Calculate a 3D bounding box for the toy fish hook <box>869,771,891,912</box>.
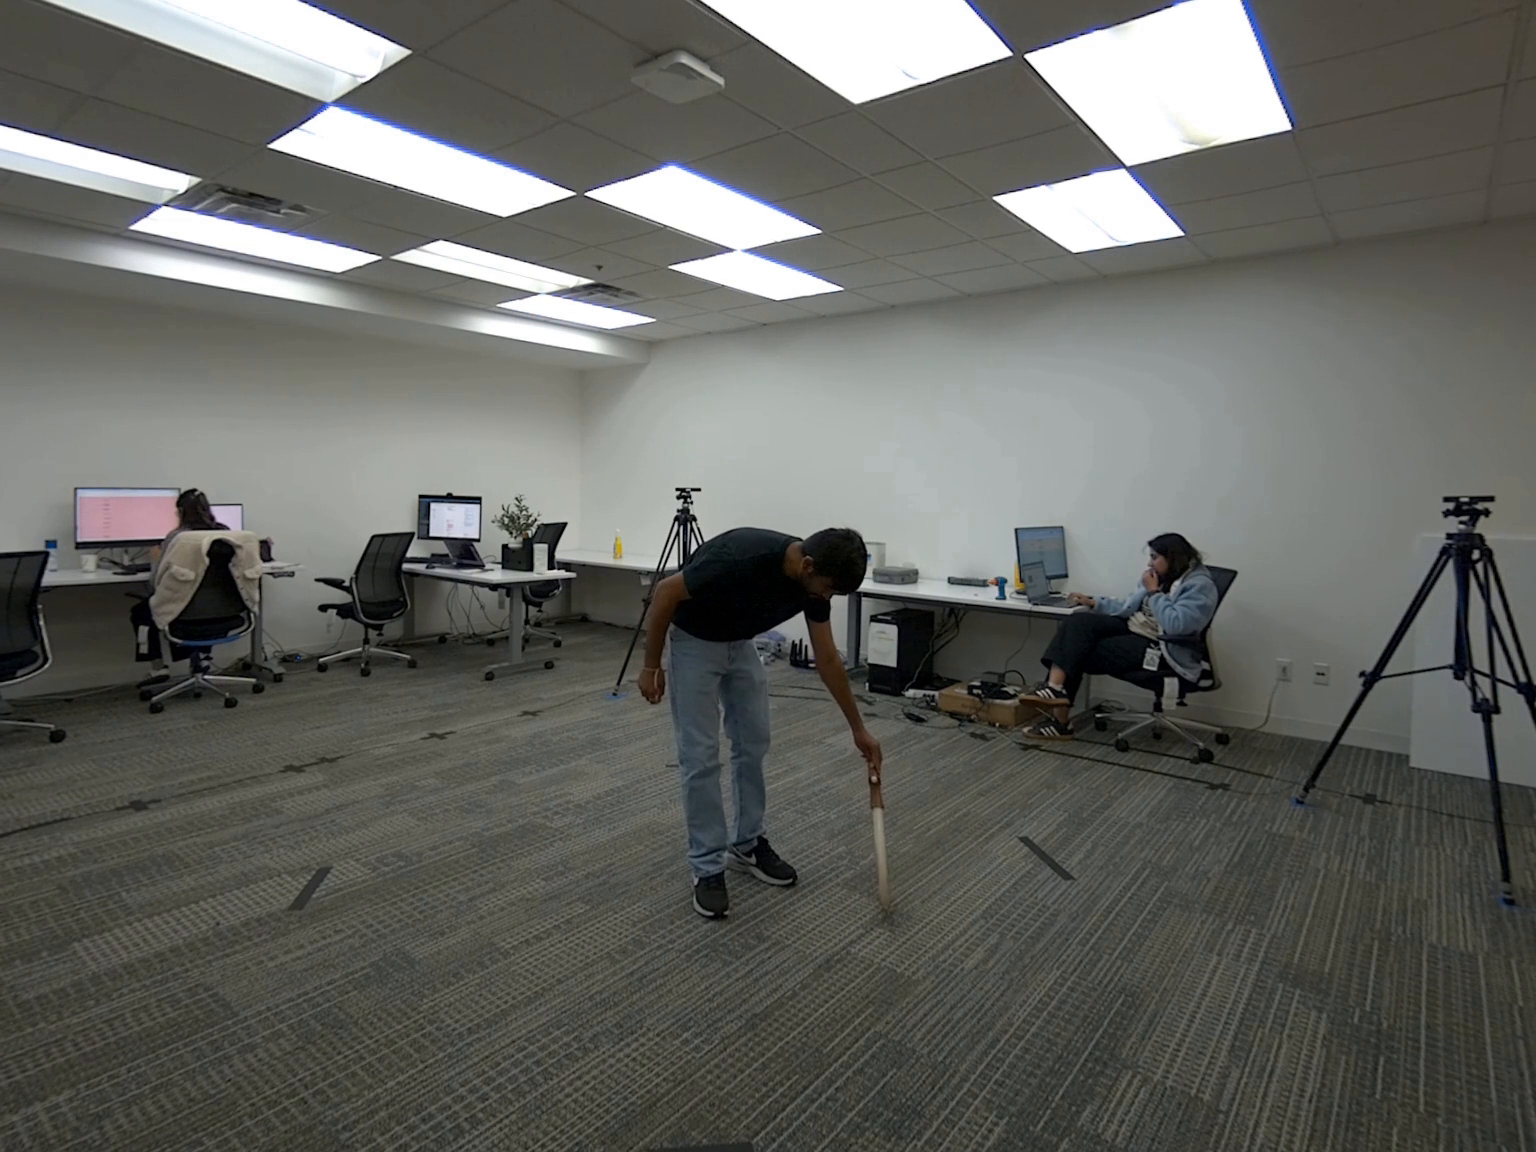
[{"bbox_3d":[0.376,0.868,2.925,0.048,0.519,0.218,-2,-29,3],"label":"toy fish hook"}]
